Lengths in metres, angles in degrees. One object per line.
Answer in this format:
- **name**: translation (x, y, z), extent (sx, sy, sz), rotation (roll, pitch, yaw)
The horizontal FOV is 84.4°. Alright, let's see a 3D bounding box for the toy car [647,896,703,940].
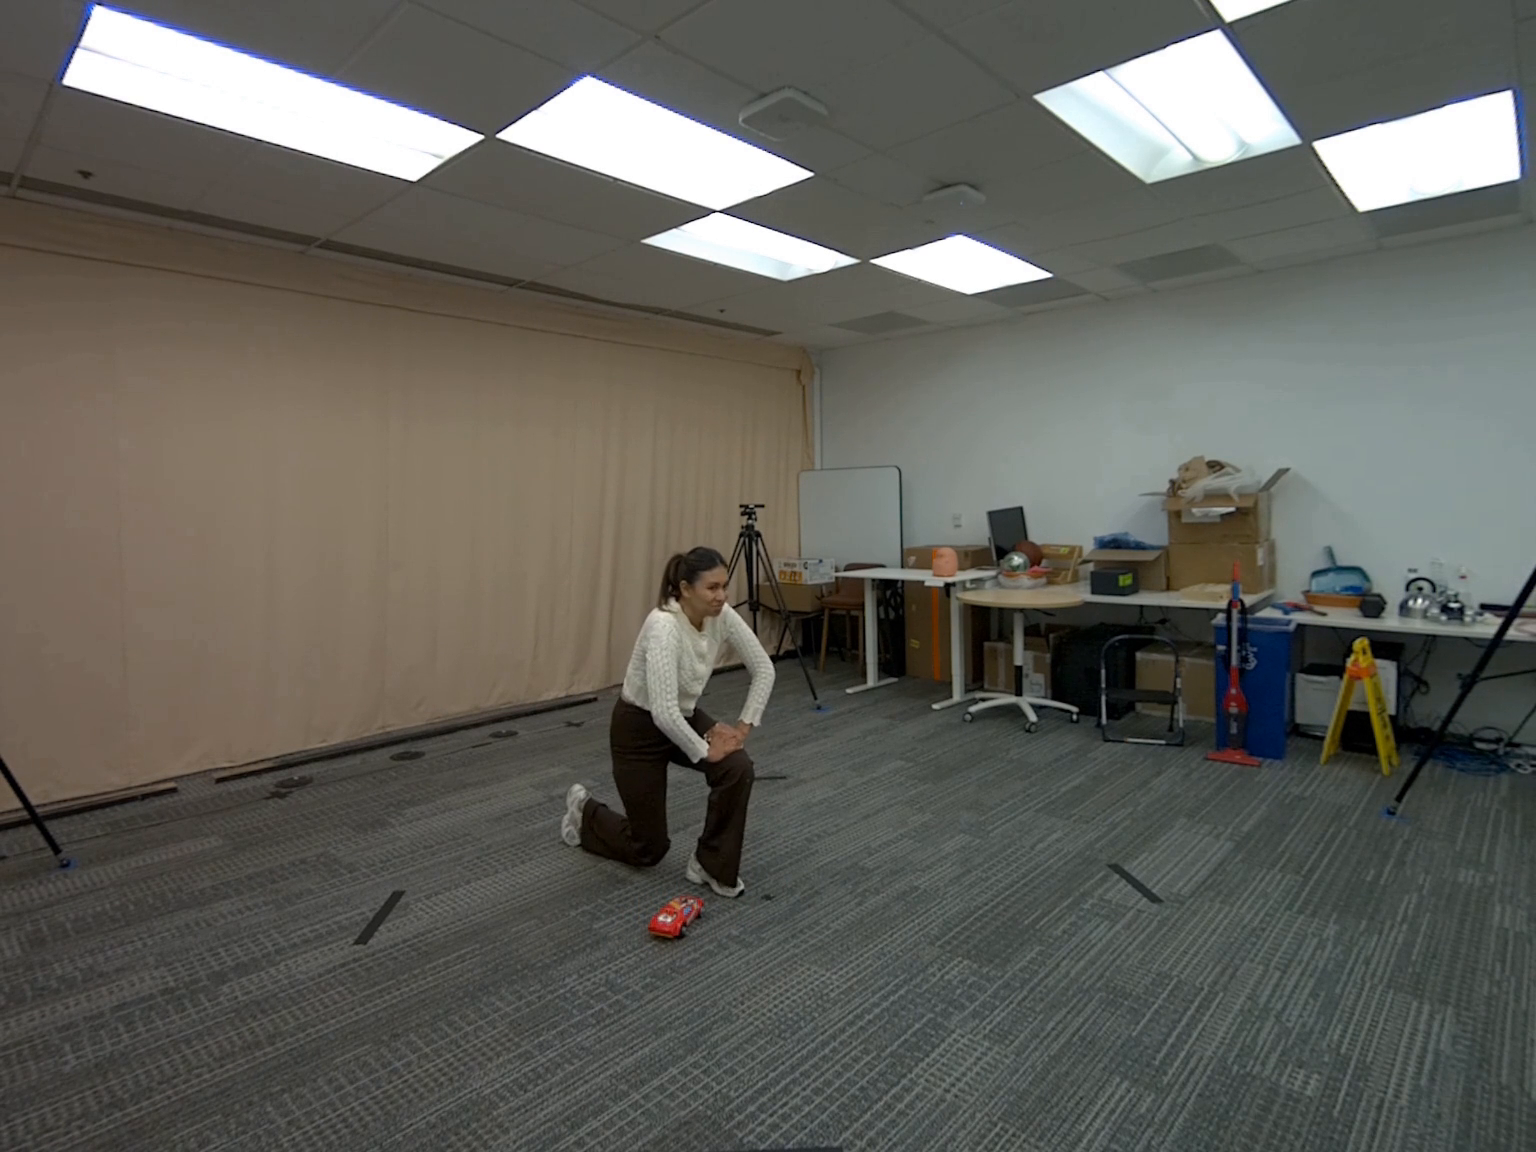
- **toy car**: translation (-0.304, 1.132, 2.776), extent (0.133, 0.083, 0.248), rotation (2, -6, 22)
